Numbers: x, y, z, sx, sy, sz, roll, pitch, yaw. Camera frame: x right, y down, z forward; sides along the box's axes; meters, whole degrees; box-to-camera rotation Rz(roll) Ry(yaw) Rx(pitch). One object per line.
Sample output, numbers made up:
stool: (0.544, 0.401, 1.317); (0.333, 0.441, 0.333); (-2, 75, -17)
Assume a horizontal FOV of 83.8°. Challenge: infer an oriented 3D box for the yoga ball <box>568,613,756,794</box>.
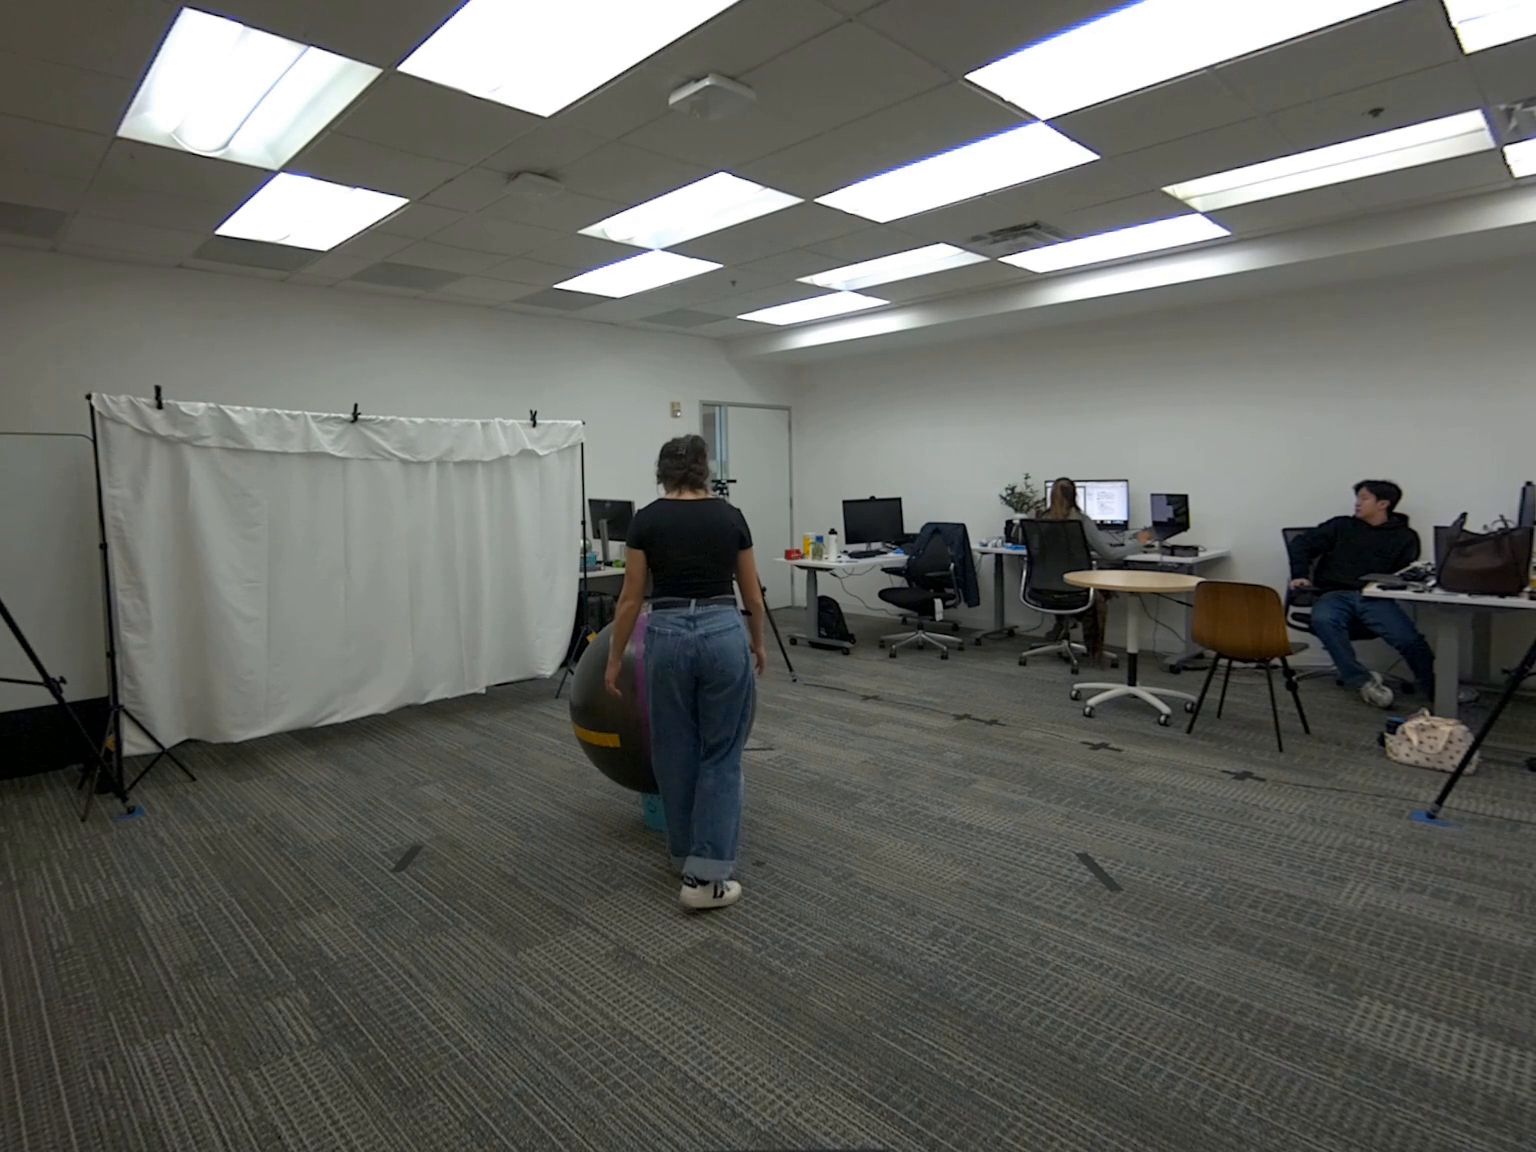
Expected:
yoga ball: (-0.431, 0.501, 3.493); (0.757, 0.755, 0.762); (-1, 5, -2)
